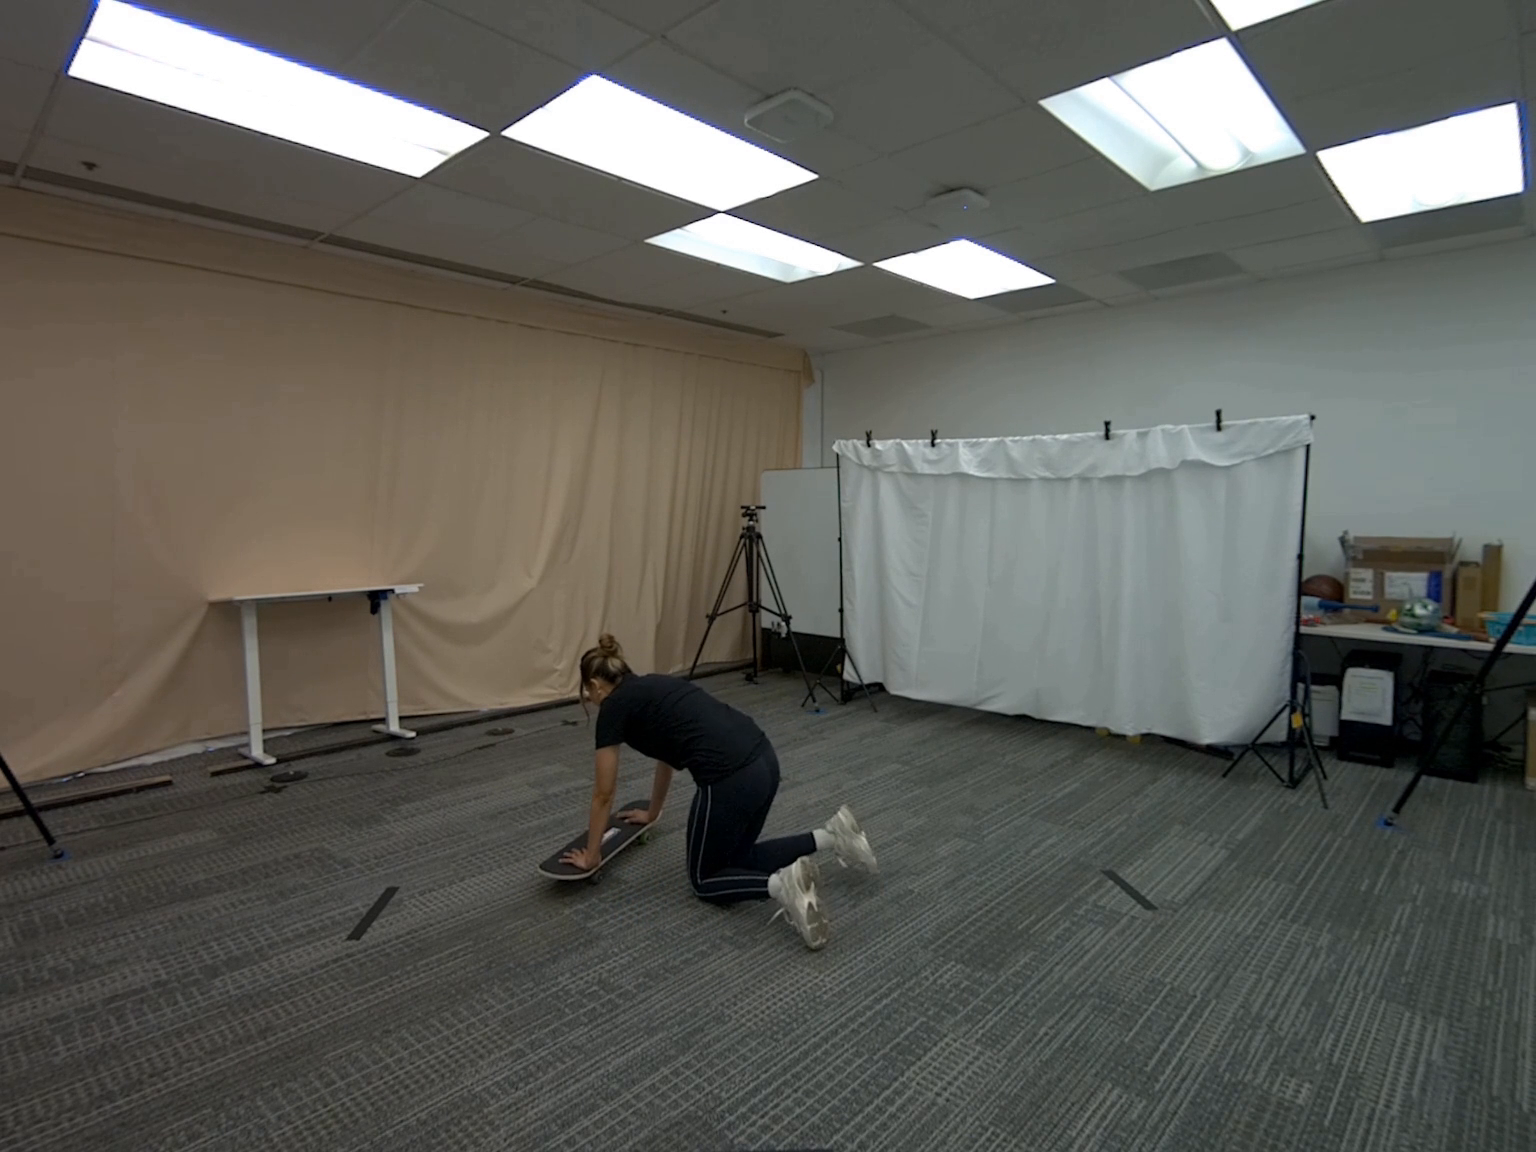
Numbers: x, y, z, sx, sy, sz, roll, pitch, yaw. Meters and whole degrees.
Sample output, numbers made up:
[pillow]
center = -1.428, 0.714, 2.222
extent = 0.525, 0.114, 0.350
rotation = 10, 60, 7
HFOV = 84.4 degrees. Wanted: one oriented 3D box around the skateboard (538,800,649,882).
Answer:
[skateboard]
center = -0.642, 1.066, 3.323
extent = 0.198, 0.110, 0.770
rotation = 4, 6, 19
